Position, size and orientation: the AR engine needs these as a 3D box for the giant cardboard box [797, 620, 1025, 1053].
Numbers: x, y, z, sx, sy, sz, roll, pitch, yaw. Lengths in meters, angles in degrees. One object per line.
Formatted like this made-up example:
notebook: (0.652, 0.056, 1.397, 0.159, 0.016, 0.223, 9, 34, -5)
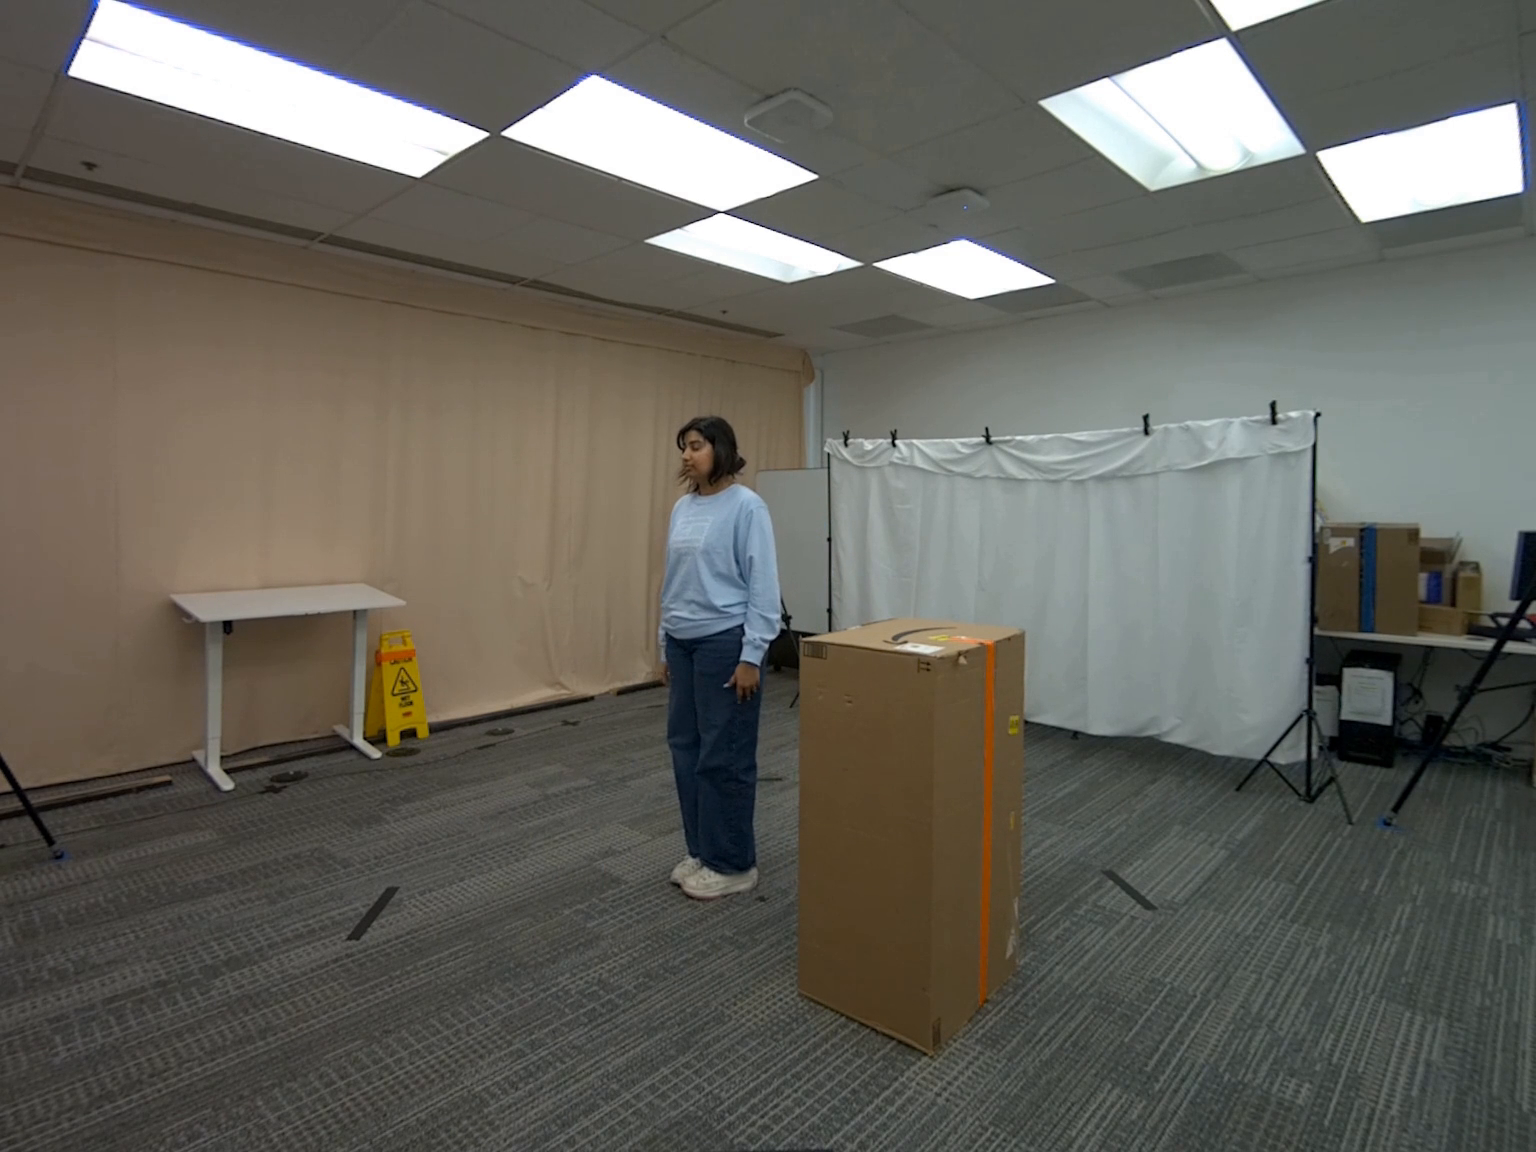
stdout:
giant cardboard box: (0.433, 0.678, 2.446, 0.462, 1.024, 0.566, 4, 5, 41)
